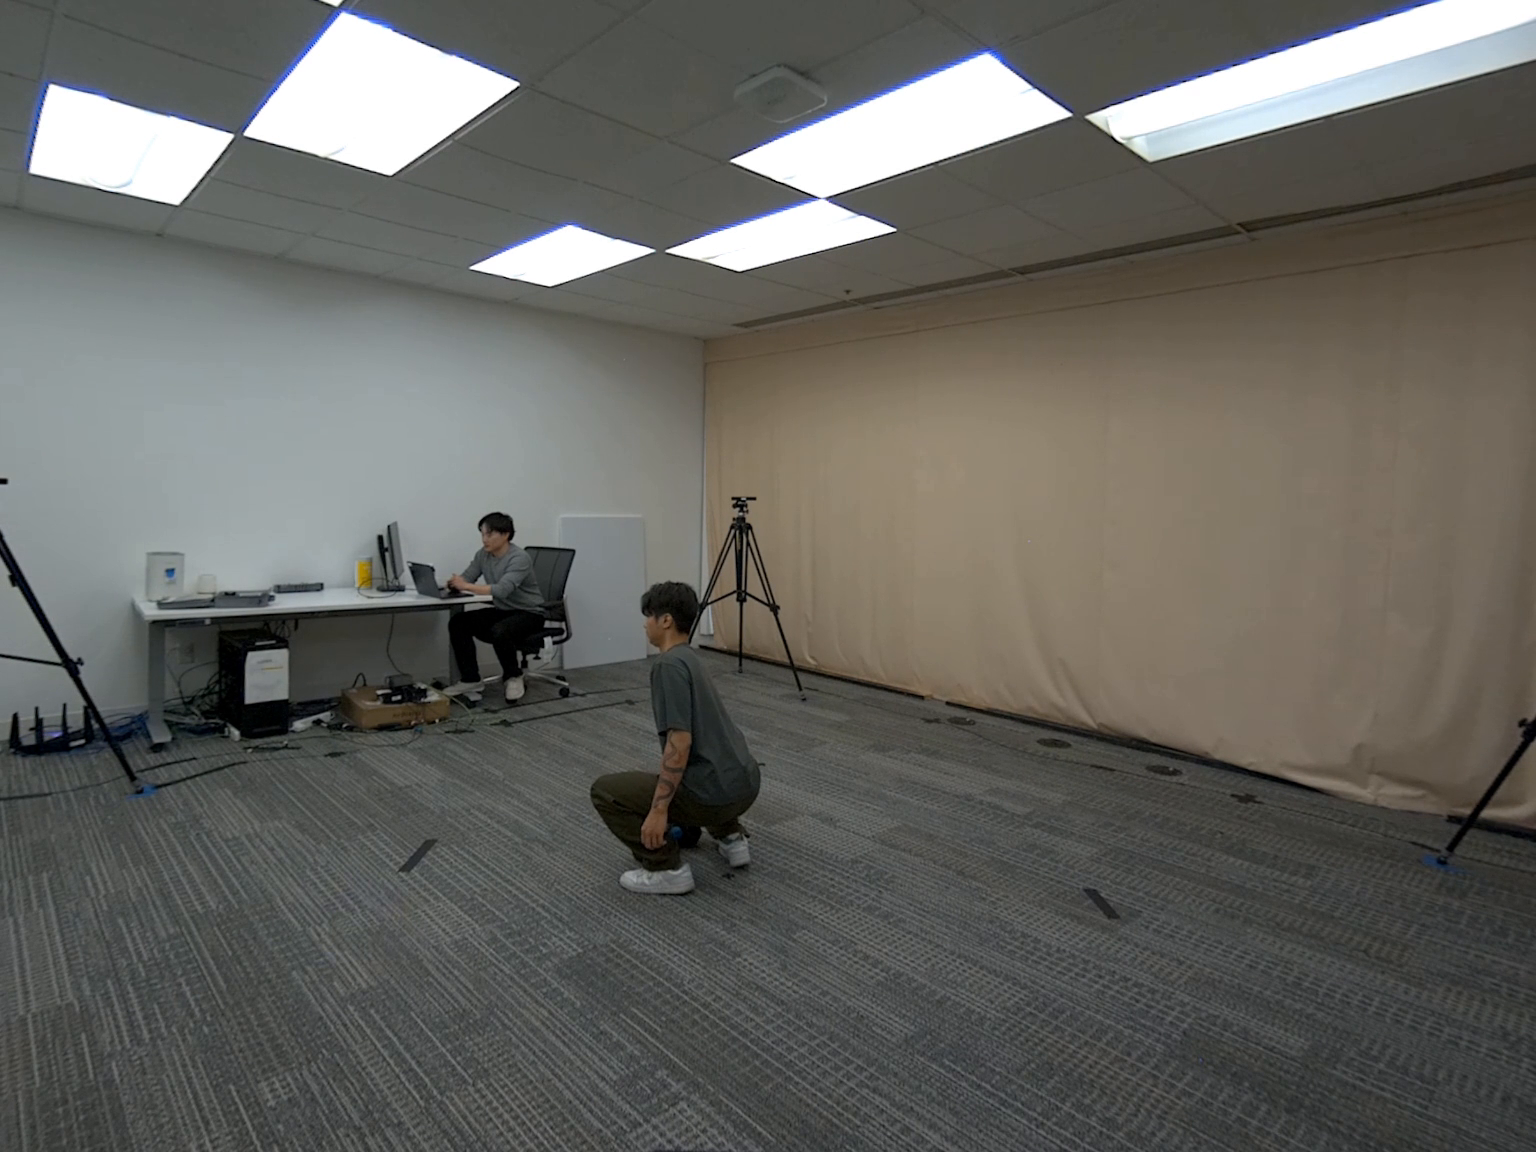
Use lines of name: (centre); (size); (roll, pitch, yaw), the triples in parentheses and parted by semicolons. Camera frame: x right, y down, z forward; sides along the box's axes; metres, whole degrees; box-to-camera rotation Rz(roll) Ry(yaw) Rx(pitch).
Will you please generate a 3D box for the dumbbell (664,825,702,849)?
dumbbell: (-0.403, 1.027, 3.308); (0.287, 0.125, 0.109); (-3, -26, -46)
